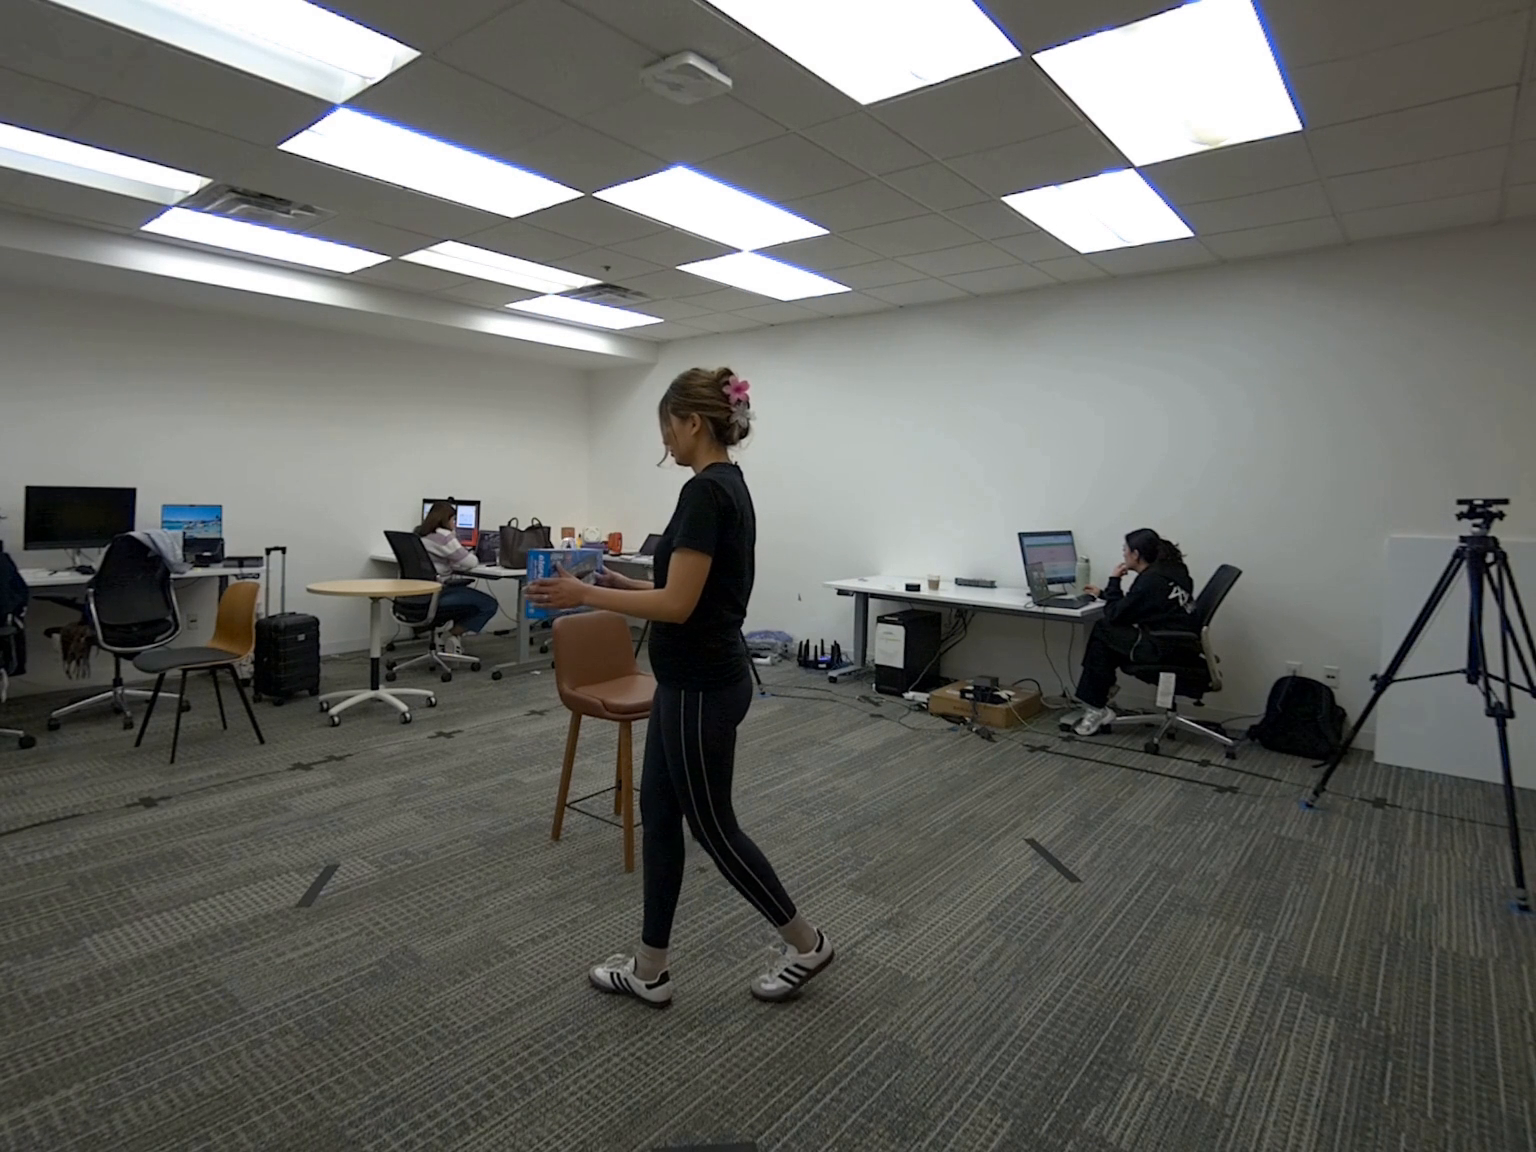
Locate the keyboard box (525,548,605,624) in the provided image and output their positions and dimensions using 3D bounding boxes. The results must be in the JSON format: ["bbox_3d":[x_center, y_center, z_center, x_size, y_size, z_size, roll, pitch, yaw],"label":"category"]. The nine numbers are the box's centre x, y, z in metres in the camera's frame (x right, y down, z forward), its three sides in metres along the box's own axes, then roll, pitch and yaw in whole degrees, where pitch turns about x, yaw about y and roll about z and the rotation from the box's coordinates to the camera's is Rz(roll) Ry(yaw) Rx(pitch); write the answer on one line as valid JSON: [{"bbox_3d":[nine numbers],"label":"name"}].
[{"bbox_3d":[-0.562,0.011,2.335,0.060,0.176,0.433,2,1,7],"label":"keyboard box"}]
